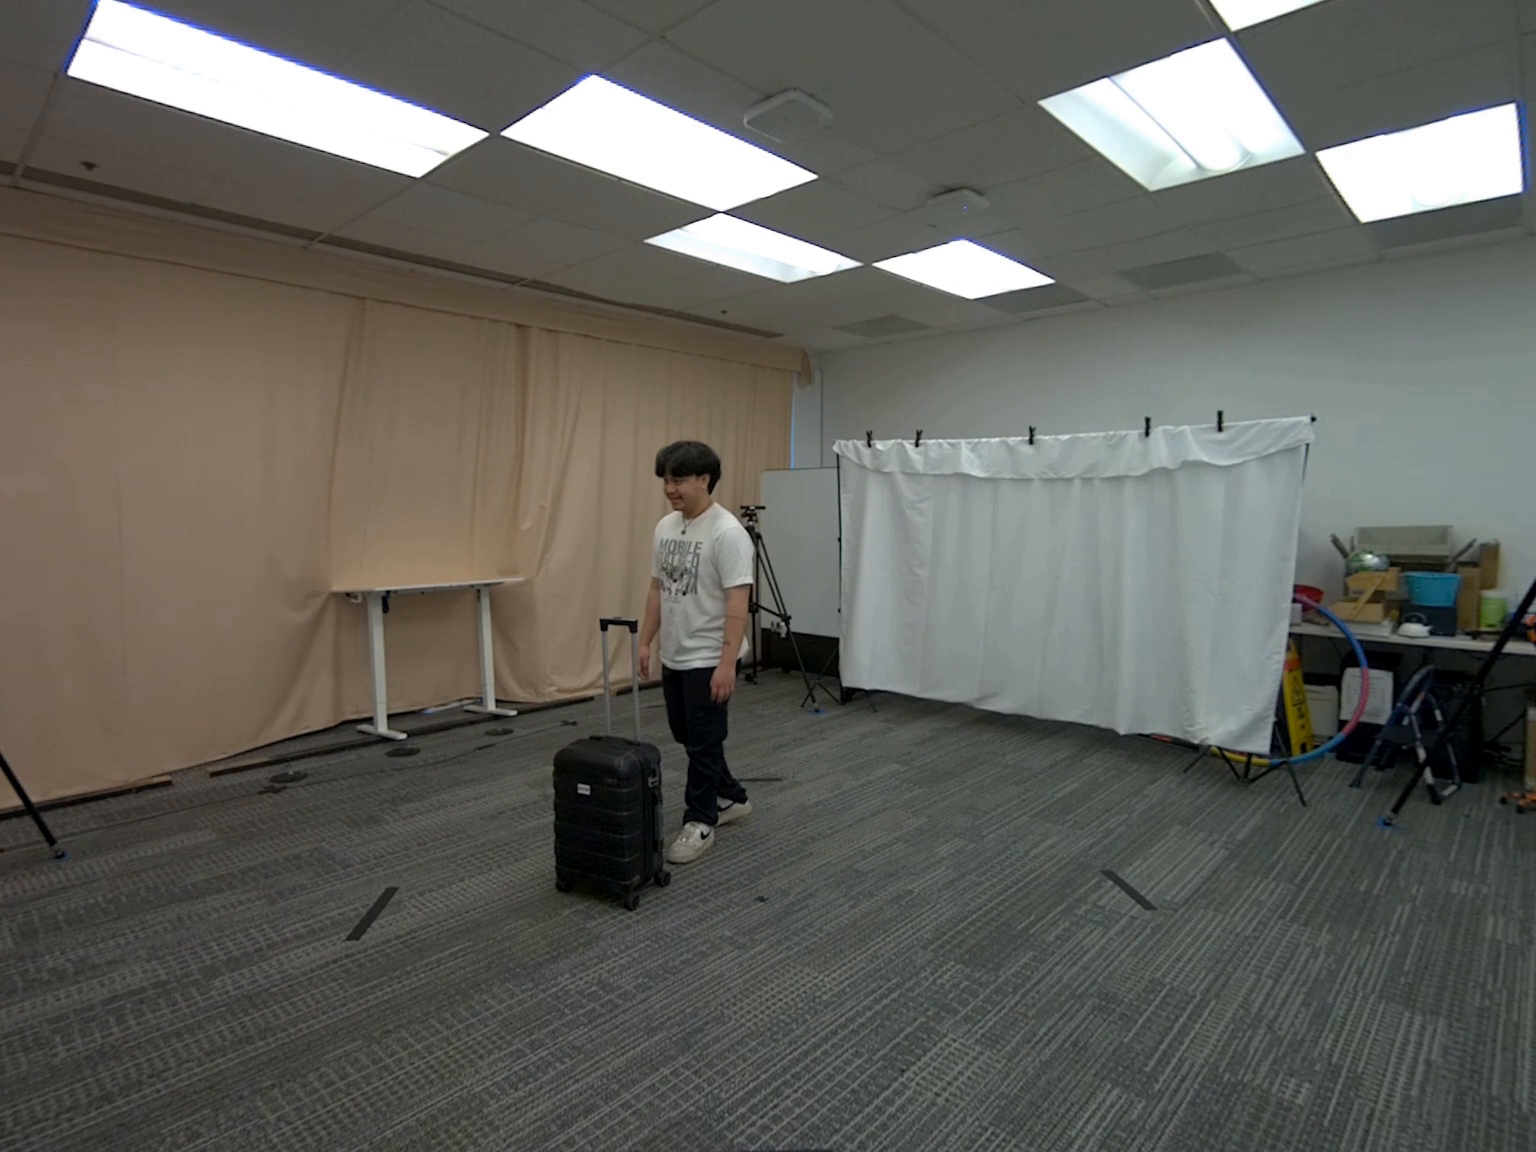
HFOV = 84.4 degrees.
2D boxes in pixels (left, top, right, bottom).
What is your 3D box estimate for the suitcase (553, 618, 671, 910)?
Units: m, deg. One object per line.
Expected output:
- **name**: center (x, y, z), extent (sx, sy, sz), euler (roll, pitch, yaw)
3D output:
- **suitcase**: center (-0.587, 0.668, 3.030), extent (0.394, 0.974, 0.251), euler (0, 7, 26)
